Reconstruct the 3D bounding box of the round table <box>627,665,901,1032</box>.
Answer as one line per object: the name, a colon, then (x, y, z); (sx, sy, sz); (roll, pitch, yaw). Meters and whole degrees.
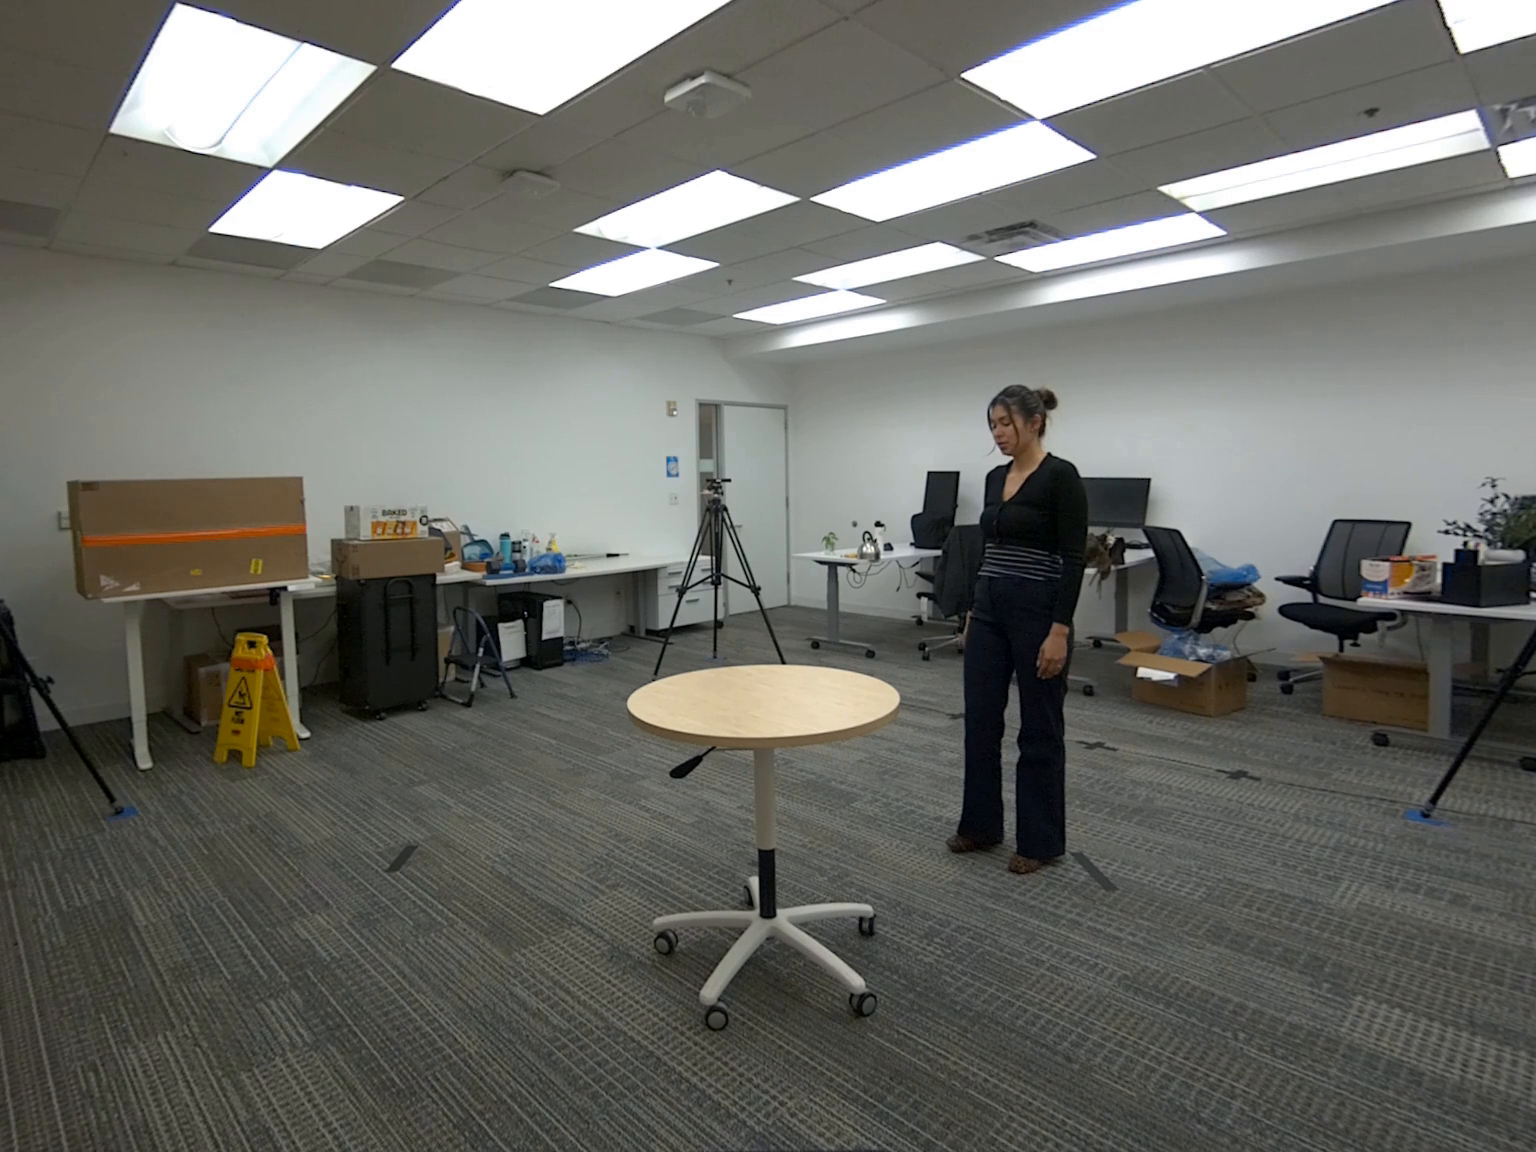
round table: (0.003, 0.732, 2.448); (0.763, 0.790, 0.768); (-2, 5, -1)
